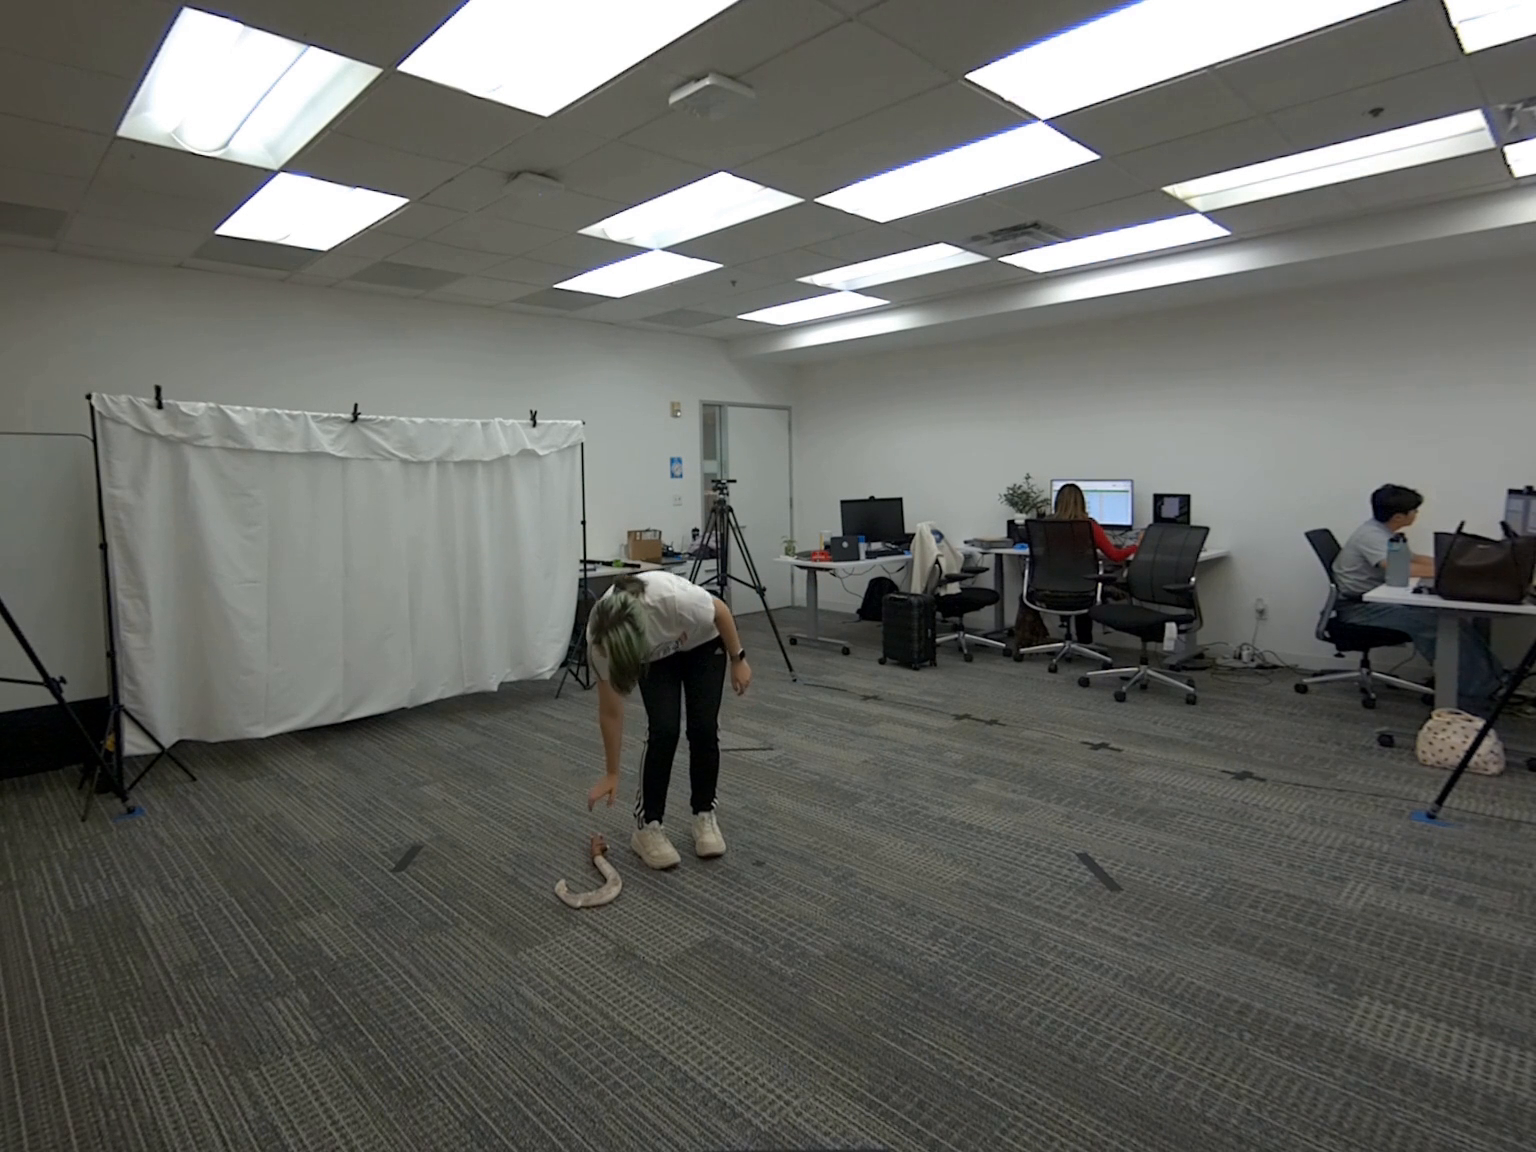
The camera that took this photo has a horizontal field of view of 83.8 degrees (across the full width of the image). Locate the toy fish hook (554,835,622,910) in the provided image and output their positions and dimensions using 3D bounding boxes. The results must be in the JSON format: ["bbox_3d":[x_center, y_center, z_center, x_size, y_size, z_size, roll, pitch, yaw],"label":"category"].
[{"bbox_3d":[-0.645,1.043,3.047,0.222,0.048,0.515,-2,6,-14],"label":"toy fish hook"}]
